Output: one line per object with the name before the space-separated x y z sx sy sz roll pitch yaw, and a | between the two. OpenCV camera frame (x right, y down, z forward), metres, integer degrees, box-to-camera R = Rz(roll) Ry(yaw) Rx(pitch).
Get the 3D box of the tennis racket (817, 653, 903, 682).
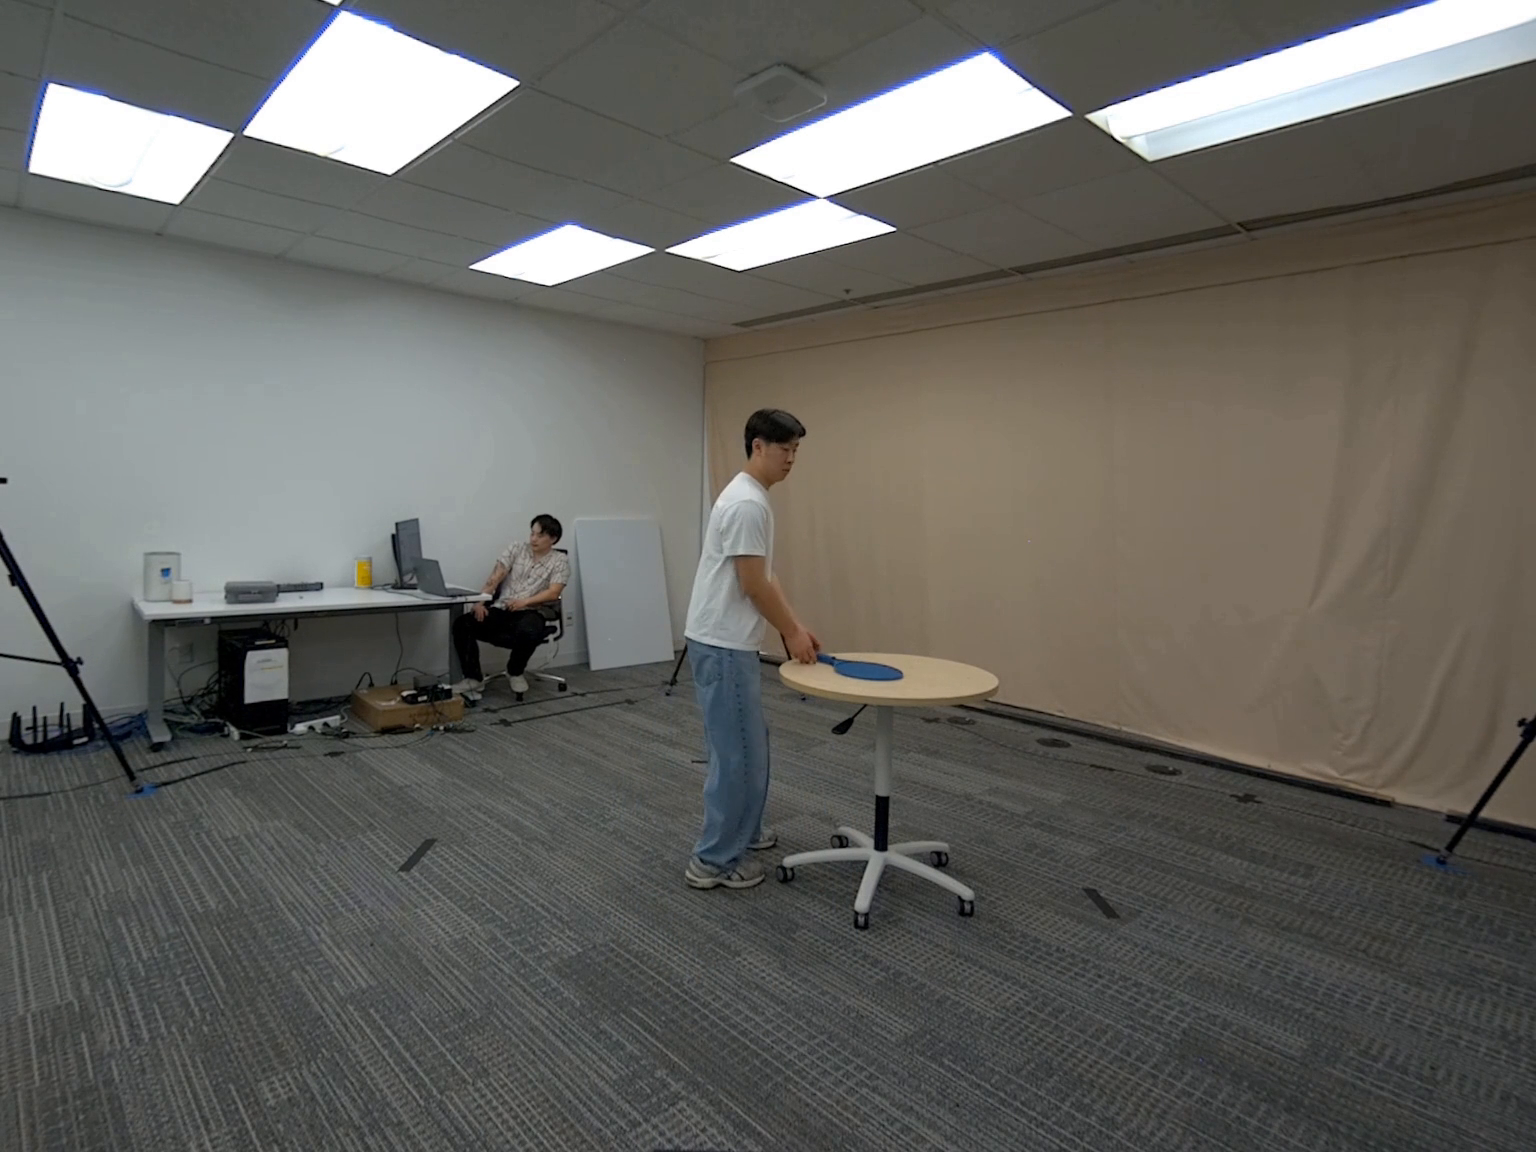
tennis racket | 0.309 0.335 3.042 0.209 0.031 0.444 -2 7 -36
